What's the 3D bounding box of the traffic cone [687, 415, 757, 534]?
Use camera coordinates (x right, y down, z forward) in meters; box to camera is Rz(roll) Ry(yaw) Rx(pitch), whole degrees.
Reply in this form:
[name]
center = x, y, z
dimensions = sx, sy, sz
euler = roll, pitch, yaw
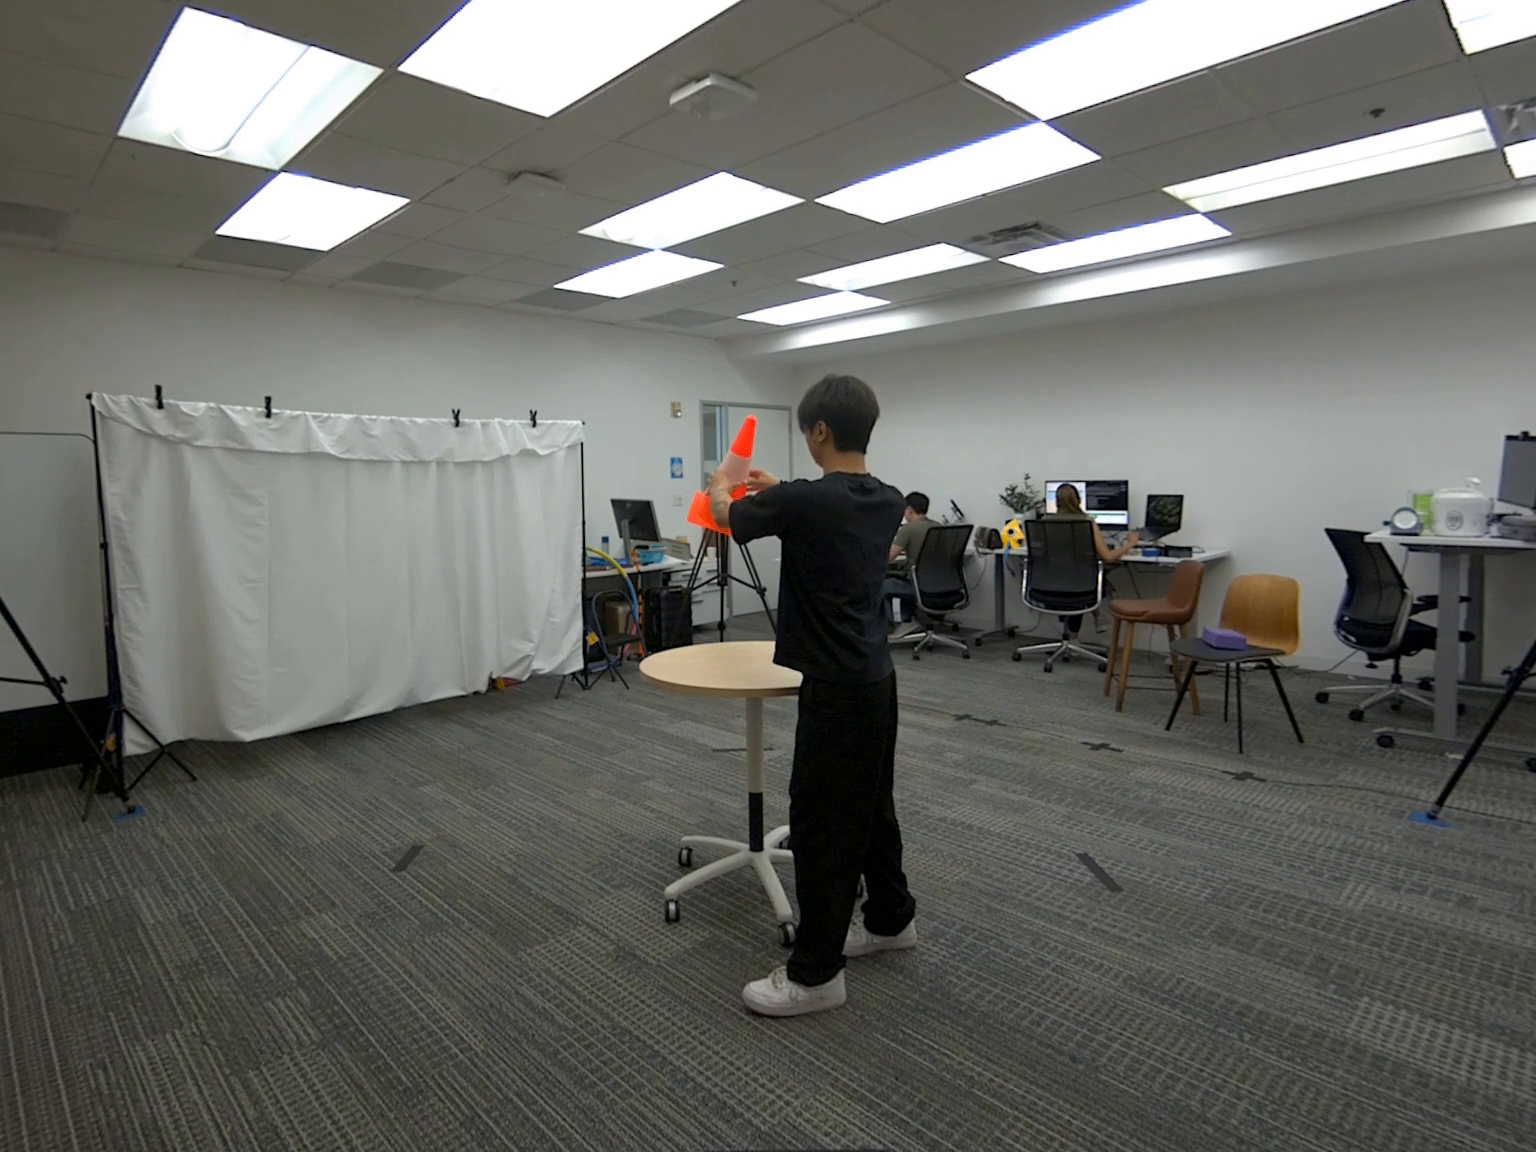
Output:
[traffic cone]
center = -0.106, -0.342, 2.787
dimensions = 0.207, 0.378, 0.204
euler = 24, 31, 7
